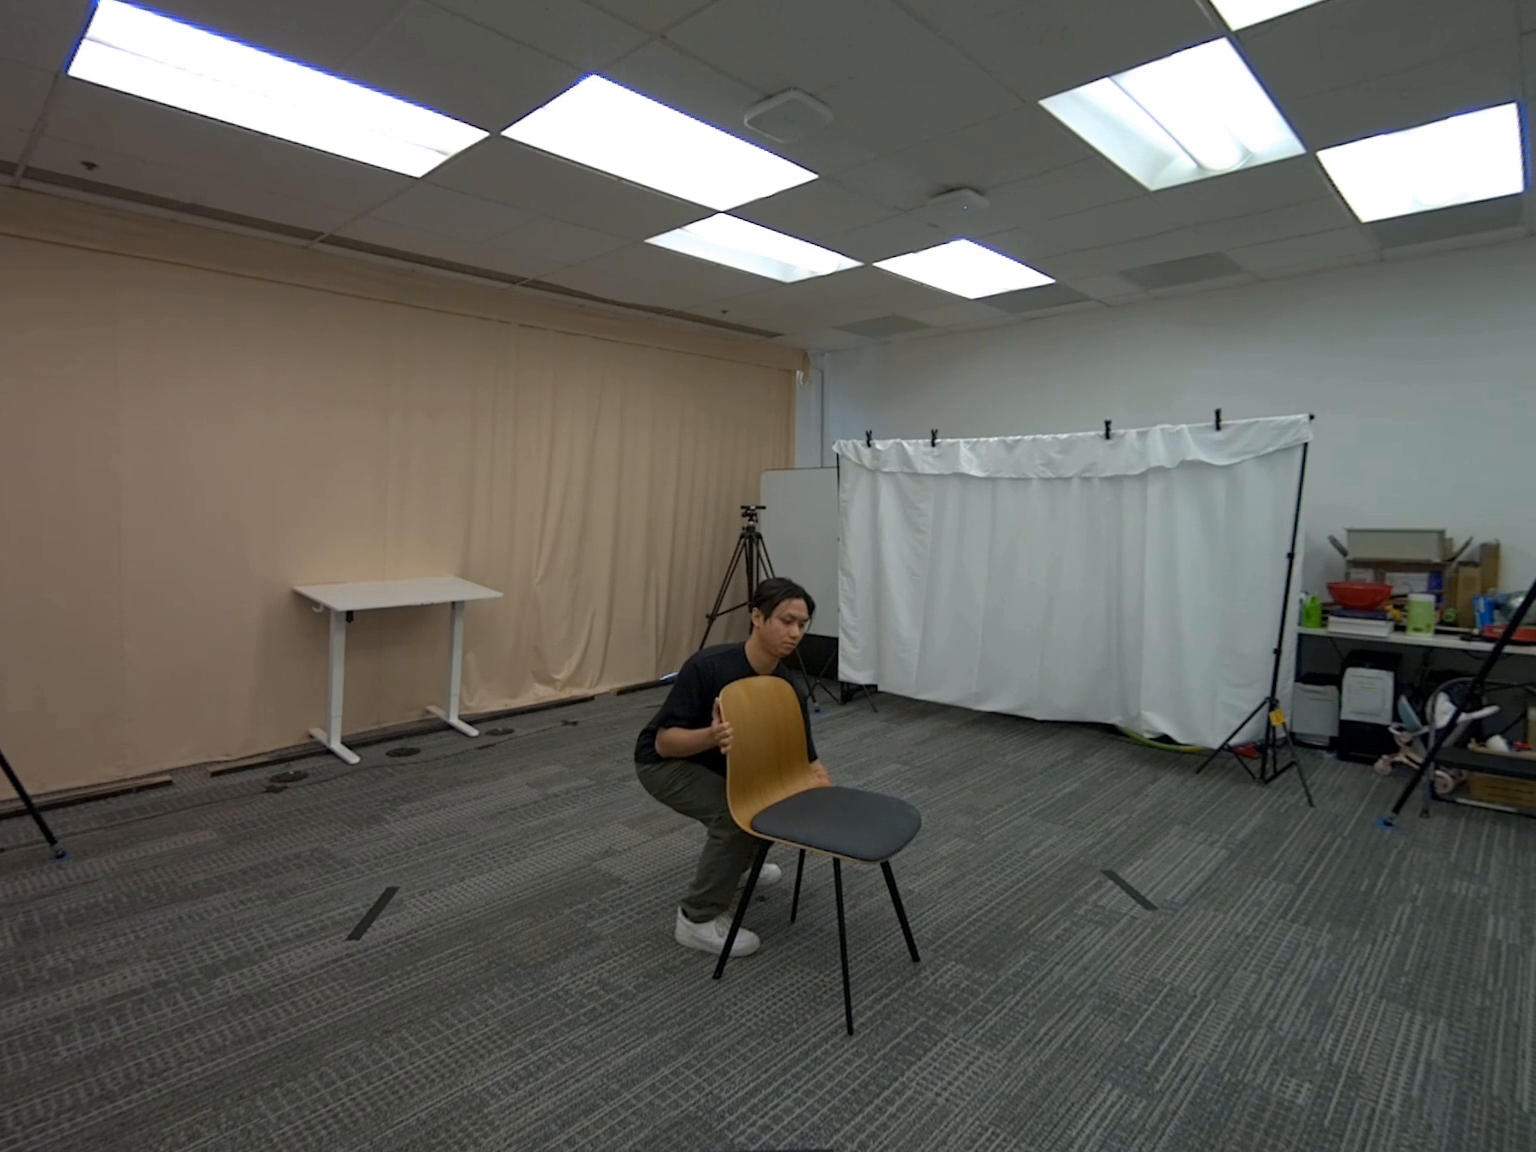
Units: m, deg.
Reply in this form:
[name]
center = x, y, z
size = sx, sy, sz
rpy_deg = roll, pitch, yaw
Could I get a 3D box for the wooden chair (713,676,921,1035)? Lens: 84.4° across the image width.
[wooden chair]
center = 0.163, 0.754, 2.490
size = 0.538, 0.877, 0.464
rpy_deg = -3, 0, 34
